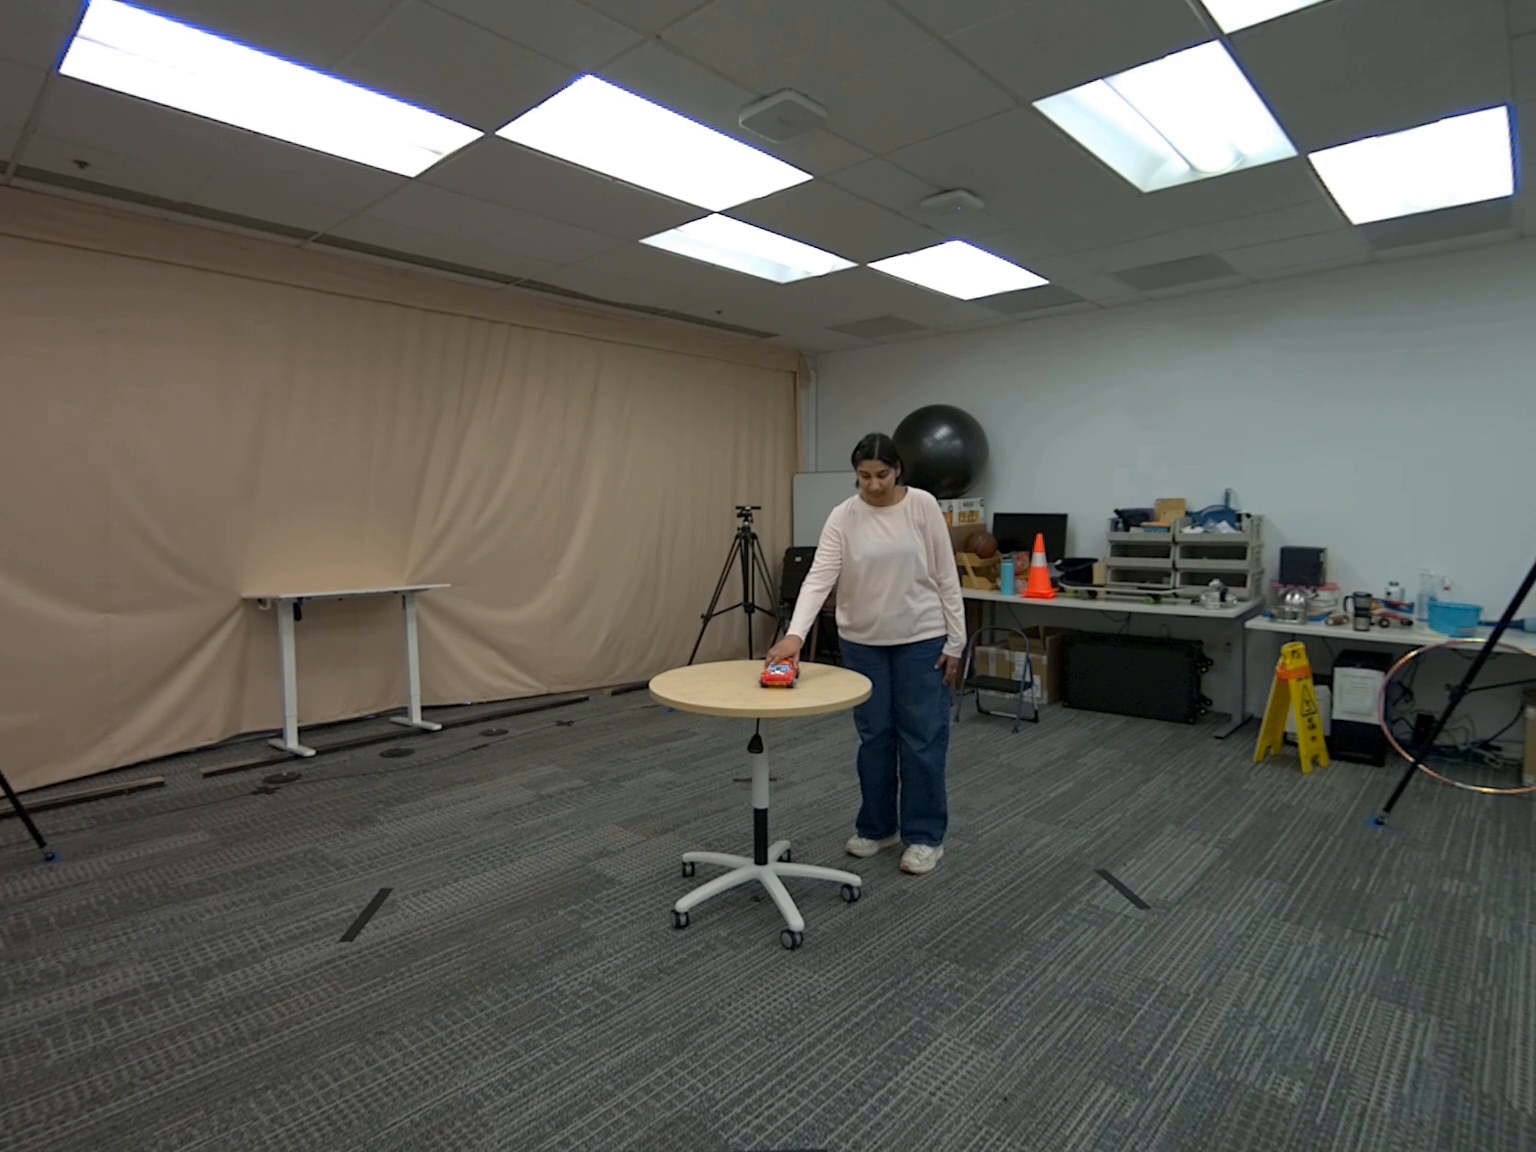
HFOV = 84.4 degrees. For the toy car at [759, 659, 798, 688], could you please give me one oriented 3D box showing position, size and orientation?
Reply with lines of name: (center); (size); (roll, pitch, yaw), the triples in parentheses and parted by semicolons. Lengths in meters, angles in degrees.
toy car: (0.047, 0.333, 2.915); (0.131, 0.082, 0.255); (2, 16, 6)
